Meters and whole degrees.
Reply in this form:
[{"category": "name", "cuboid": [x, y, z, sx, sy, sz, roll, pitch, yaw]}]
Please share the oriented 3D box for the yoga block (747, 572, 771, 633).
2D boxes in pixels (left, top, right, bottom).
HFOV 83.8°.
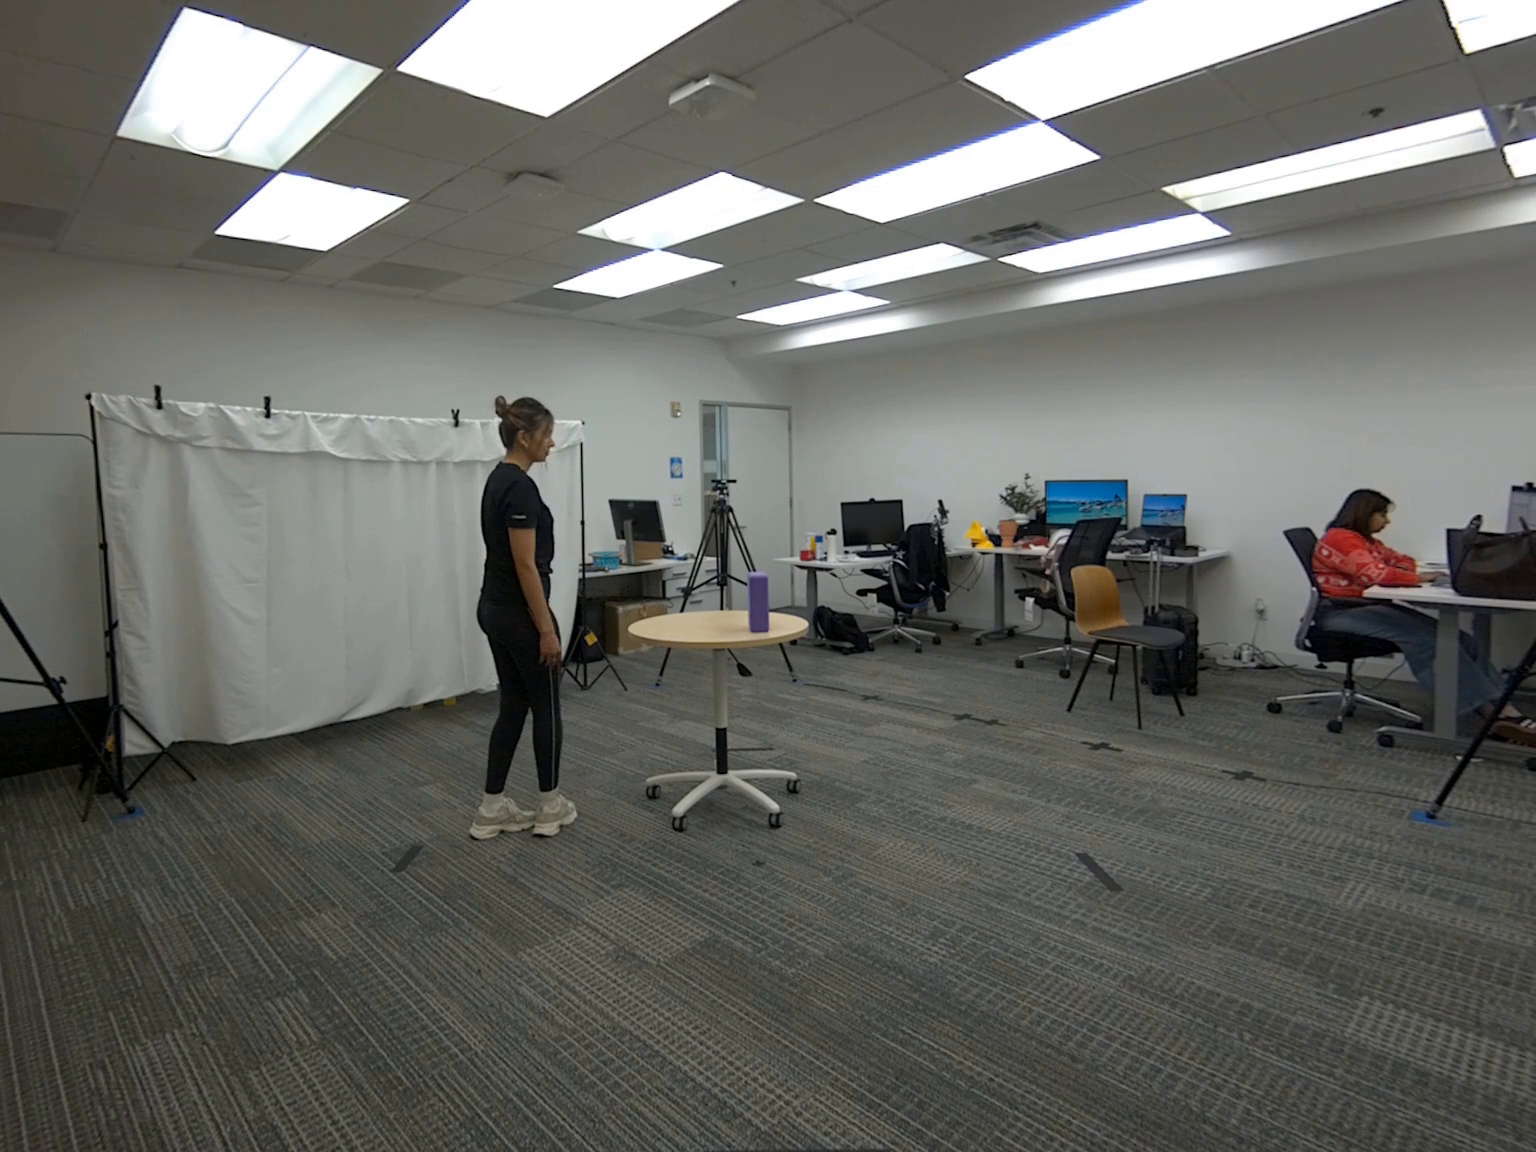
[{"category": "yoga block", "cuboid": [-0.044, 0.106, 3.489, 0.076, 0.227, 0.150, 0, 12, 1]}]
